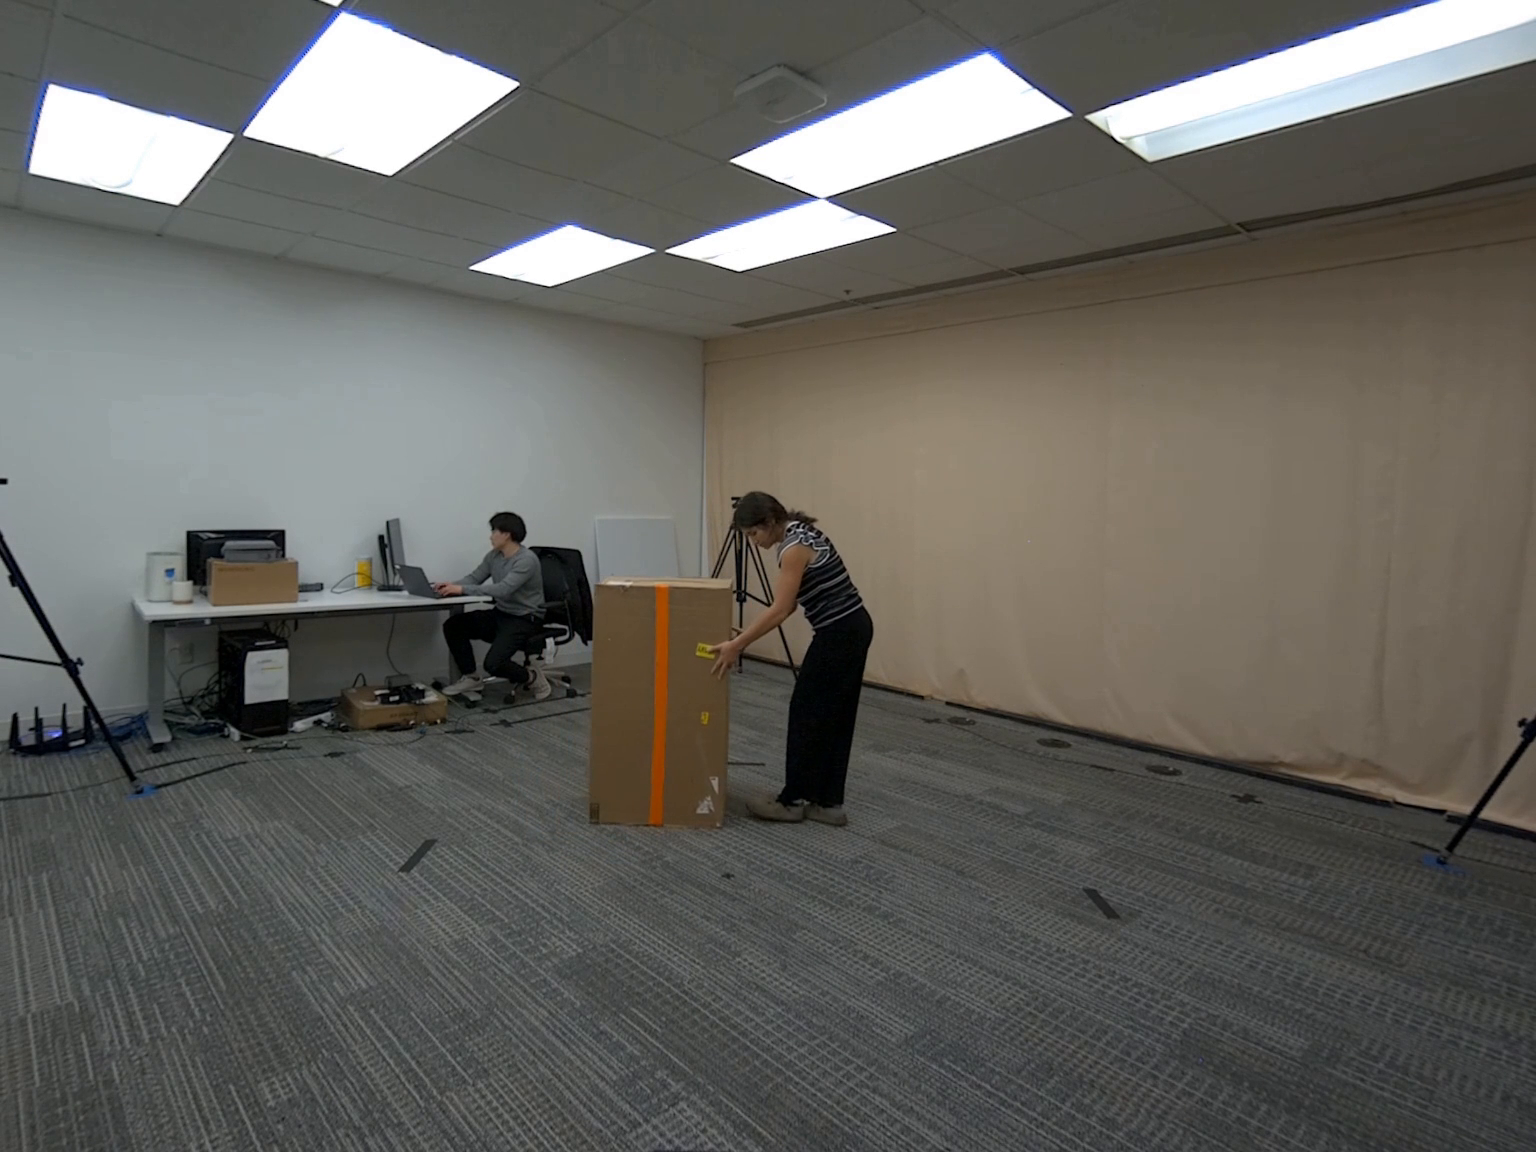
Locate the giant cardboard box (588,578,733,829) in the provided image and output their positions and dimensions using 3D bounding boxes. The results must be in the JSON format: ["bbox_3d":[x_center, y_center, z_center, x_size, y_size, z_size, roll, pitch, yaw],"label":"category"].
[{"bbox_3d":[-0.471,0.533,3.744,0.578,1.024,0.426,2,3,1],"label":"giant cardboard box"}]
